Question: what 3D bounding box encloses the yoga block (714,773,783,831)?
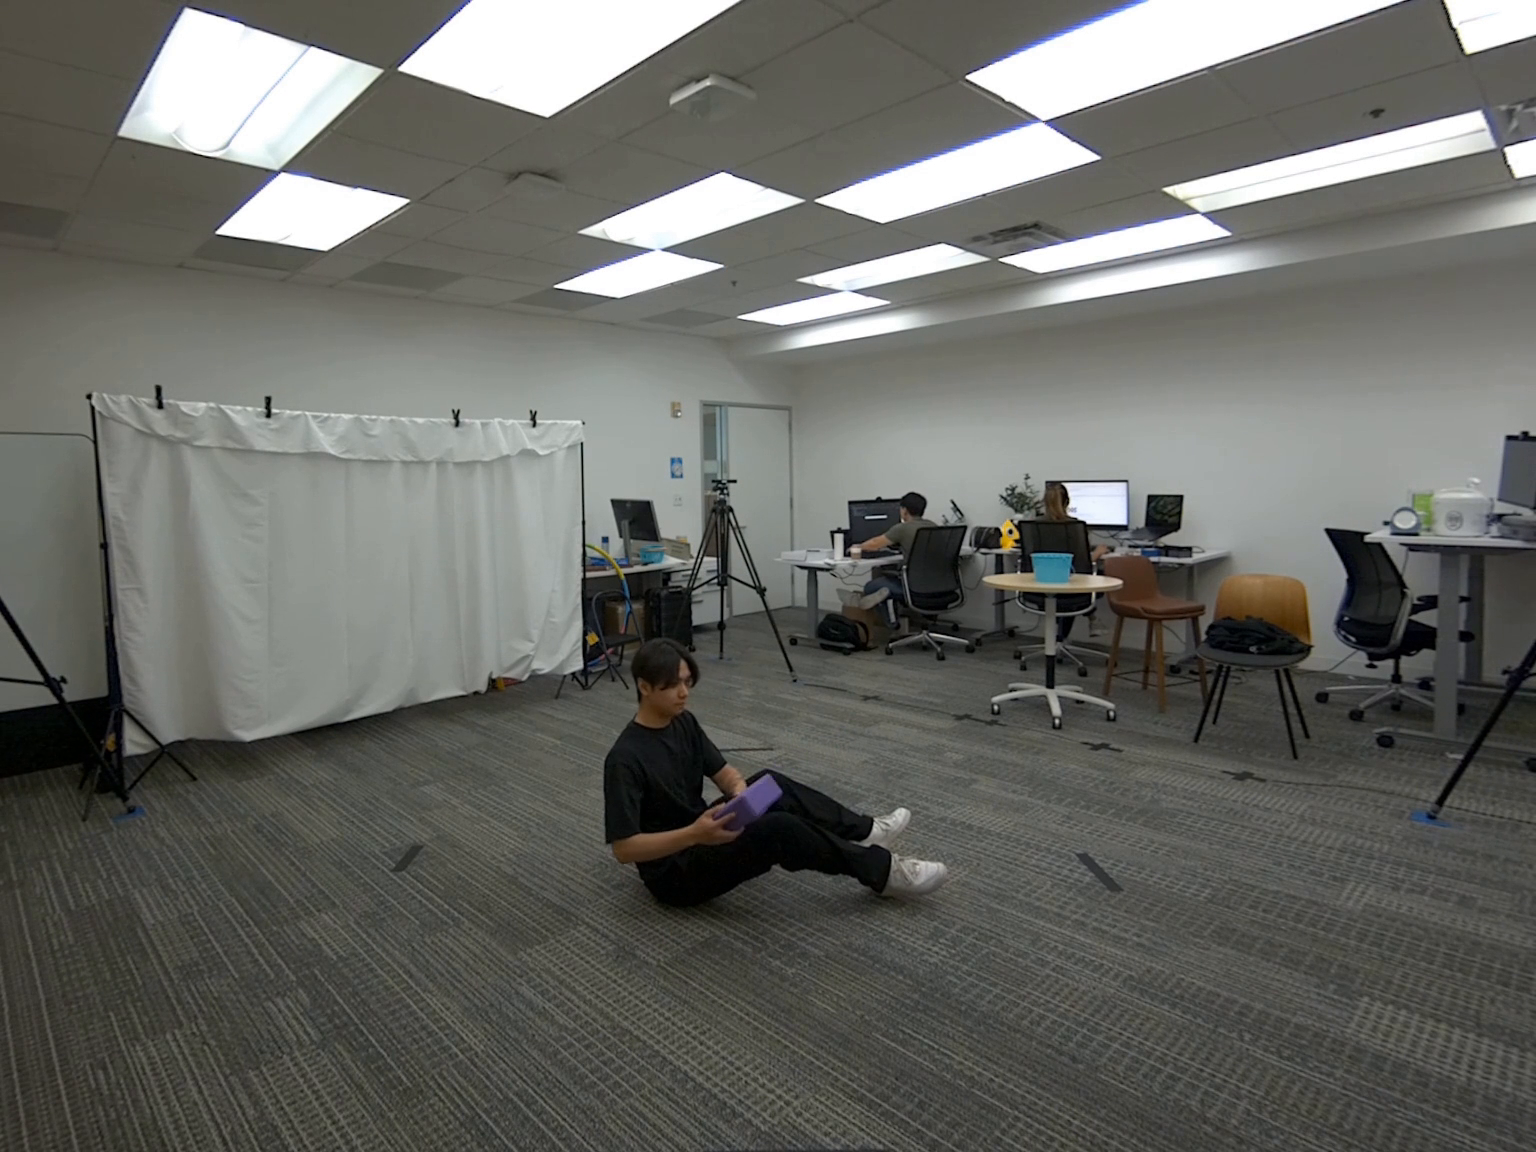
[{"bbox_3d":[-0.074,0.704,2.585,0.147,0.077,0.230,-26,-11,-48],"label":"yoga block"}]
